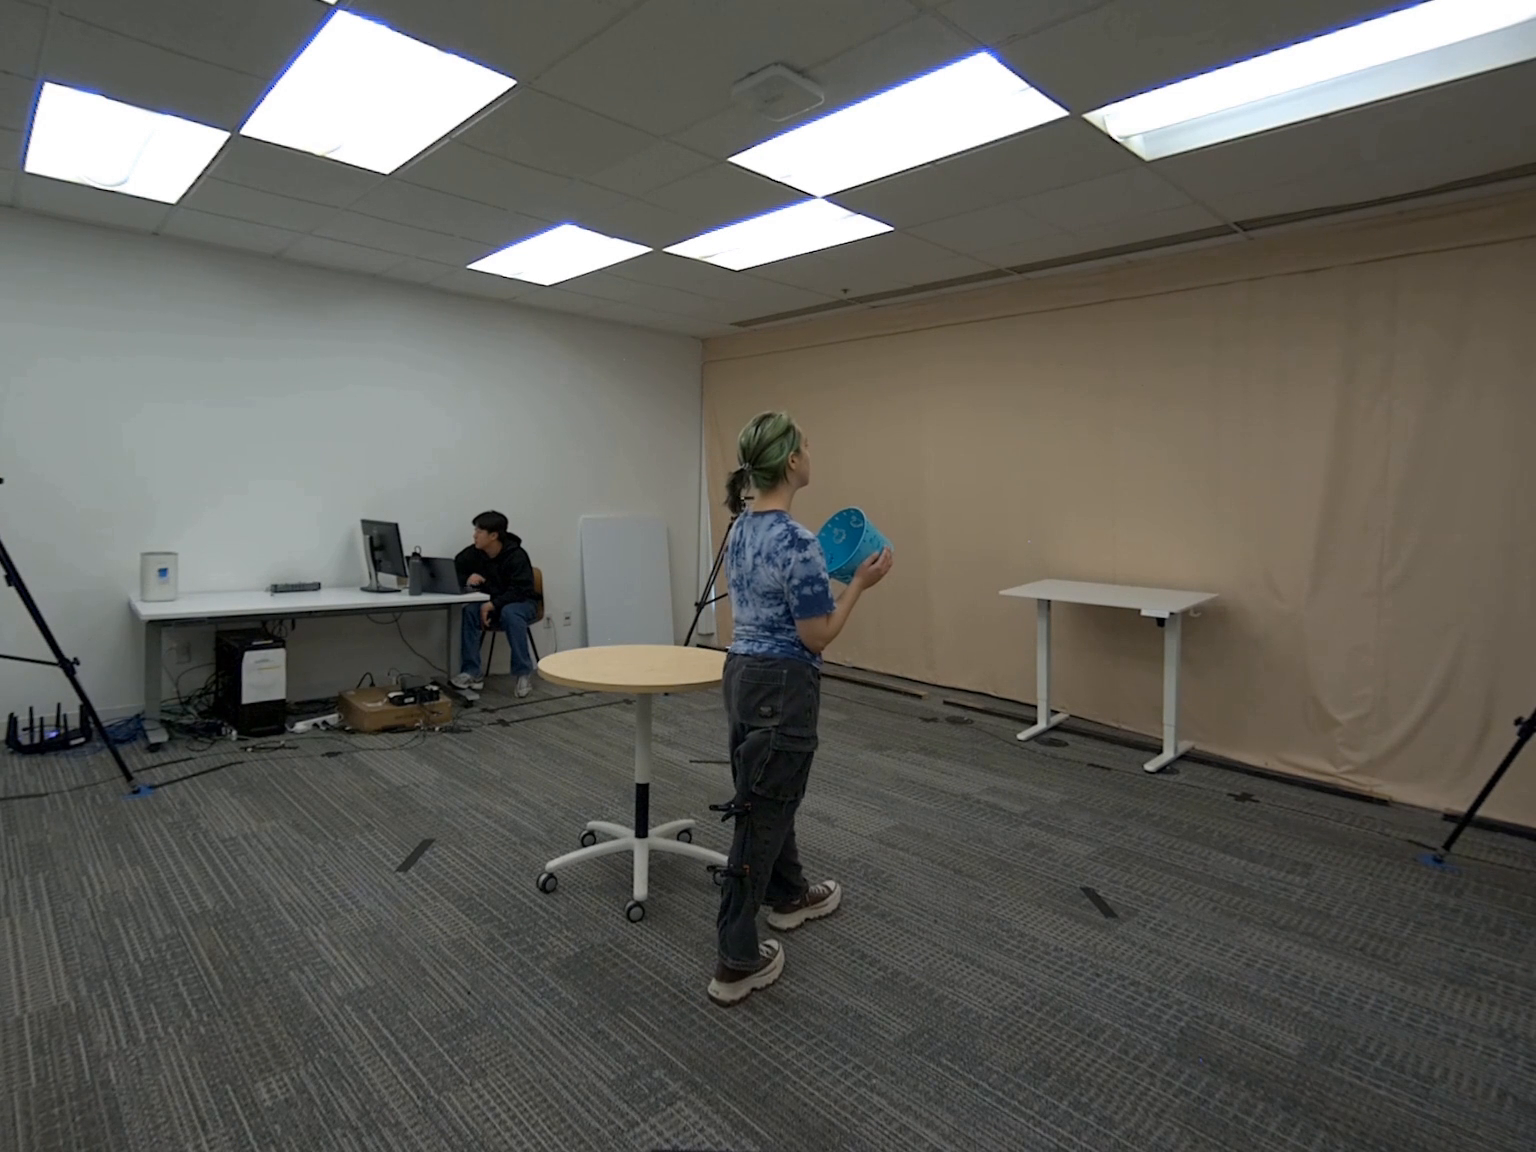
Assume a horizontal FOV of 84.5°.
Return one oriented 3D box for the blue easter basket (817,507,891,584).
[{"bbox_3d":[0.253,-0.077,2.555,0.152,0.244,0.249,32,-11,-28],"label":"blue easter basket"}]
